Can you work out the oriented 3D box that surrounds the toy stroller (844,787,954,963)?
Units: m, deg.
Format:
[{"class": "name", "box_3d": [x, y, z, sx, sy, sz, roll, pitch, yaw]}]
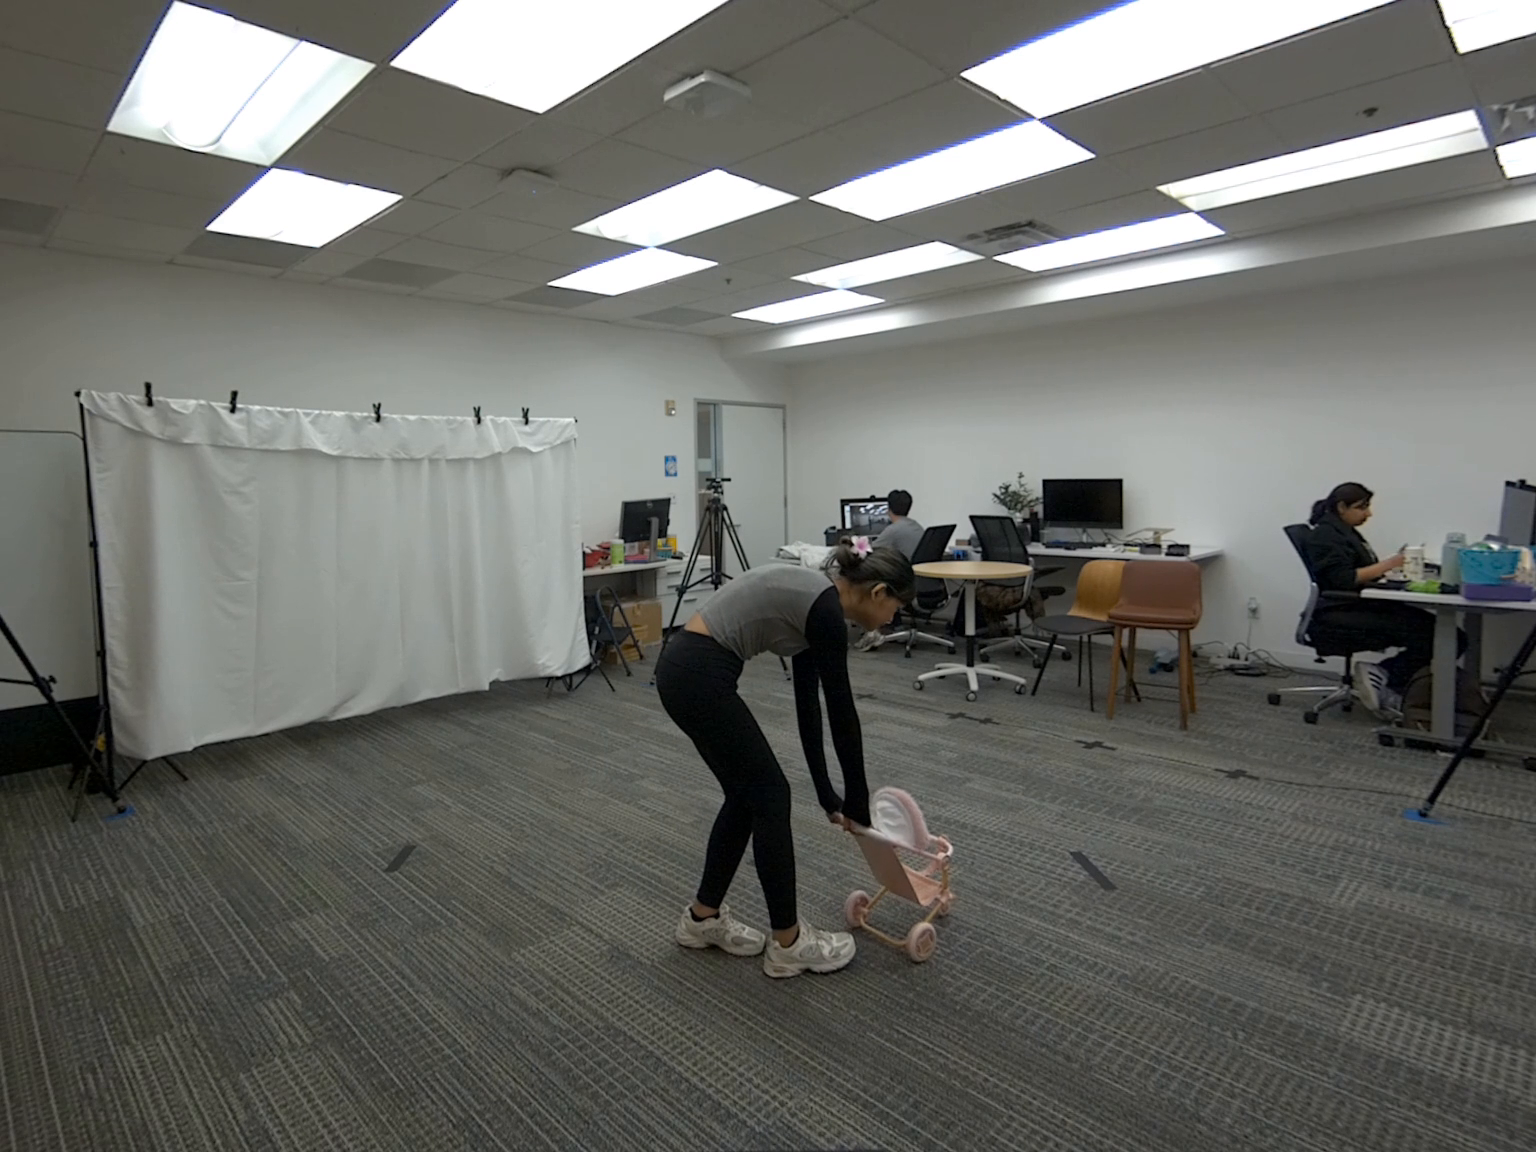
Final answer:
[{"class": "toy stroller", "box_3d": [0.412, 0.871, 2.585, 0.336, 0.527, 0.290, -23, 16, -31]}]
